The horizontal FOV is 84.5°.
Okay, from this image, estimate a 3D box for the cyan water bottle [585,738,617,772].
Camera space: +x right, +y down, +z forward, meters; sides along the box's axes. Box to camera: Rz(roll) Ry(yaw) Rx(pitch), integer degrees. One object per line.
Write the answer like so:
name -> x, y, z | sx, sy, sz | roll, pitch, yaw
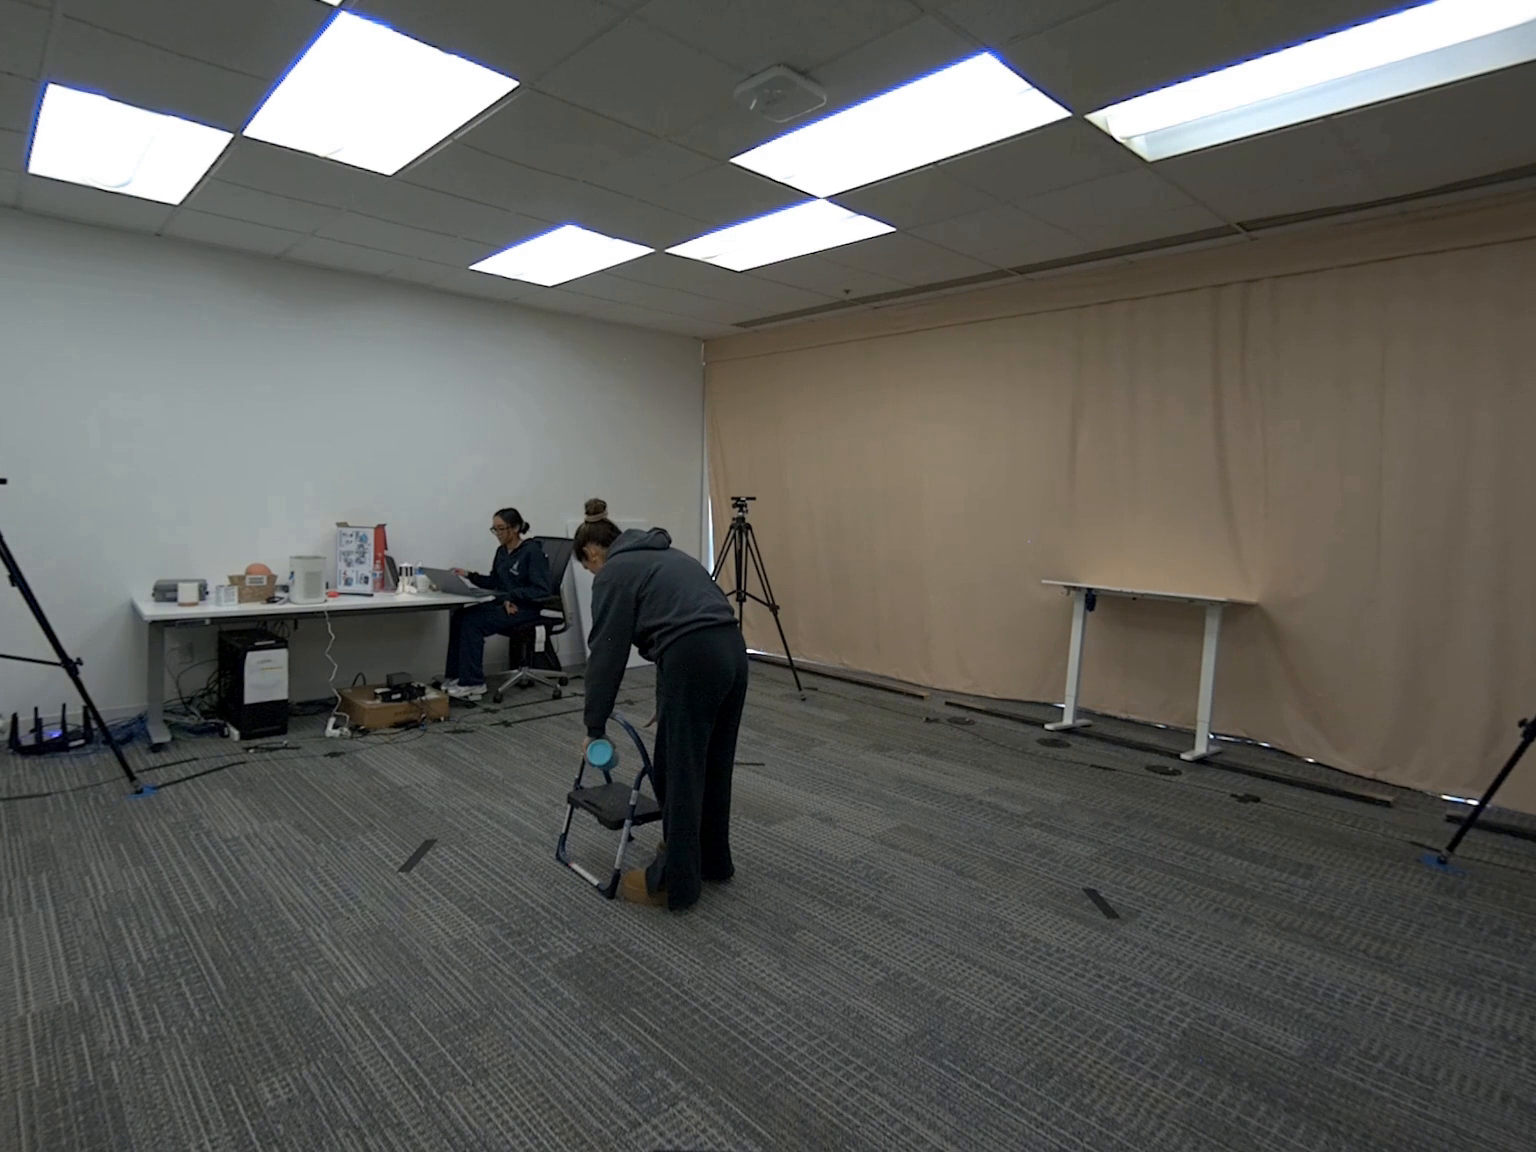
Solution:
cyan water bottle -> -0.587, 0.636, 3.010 | 0.092, 0.093, 0.281 | 1, -15, -6
